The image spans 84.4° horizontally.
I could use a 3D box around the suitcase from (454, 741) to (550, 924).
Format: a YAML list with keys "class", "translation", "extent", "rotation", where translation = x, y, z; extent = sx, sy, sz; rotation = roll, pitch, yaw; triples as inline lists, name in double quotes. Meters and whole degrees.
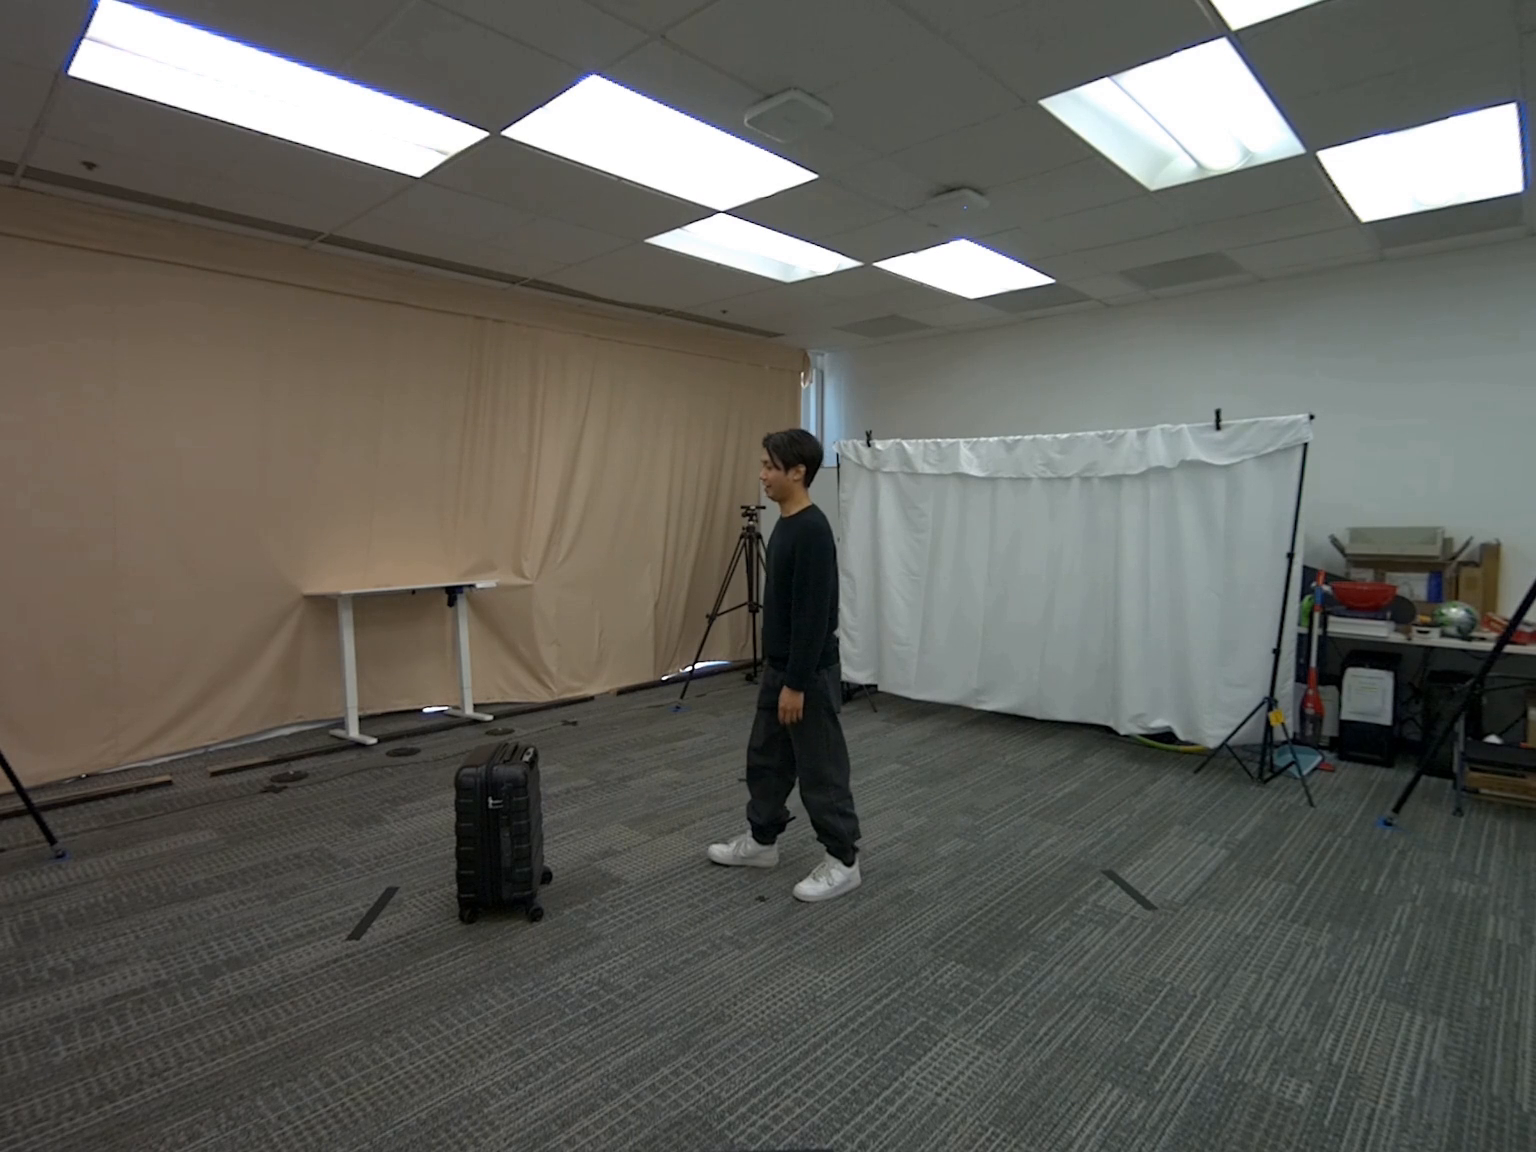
- class: "suitcase"
  translation: [-0.934, 0.879, 2.960]
  extent: [0.247, 0.548, 0.378]
  rotation: [-1, 4, -6]
